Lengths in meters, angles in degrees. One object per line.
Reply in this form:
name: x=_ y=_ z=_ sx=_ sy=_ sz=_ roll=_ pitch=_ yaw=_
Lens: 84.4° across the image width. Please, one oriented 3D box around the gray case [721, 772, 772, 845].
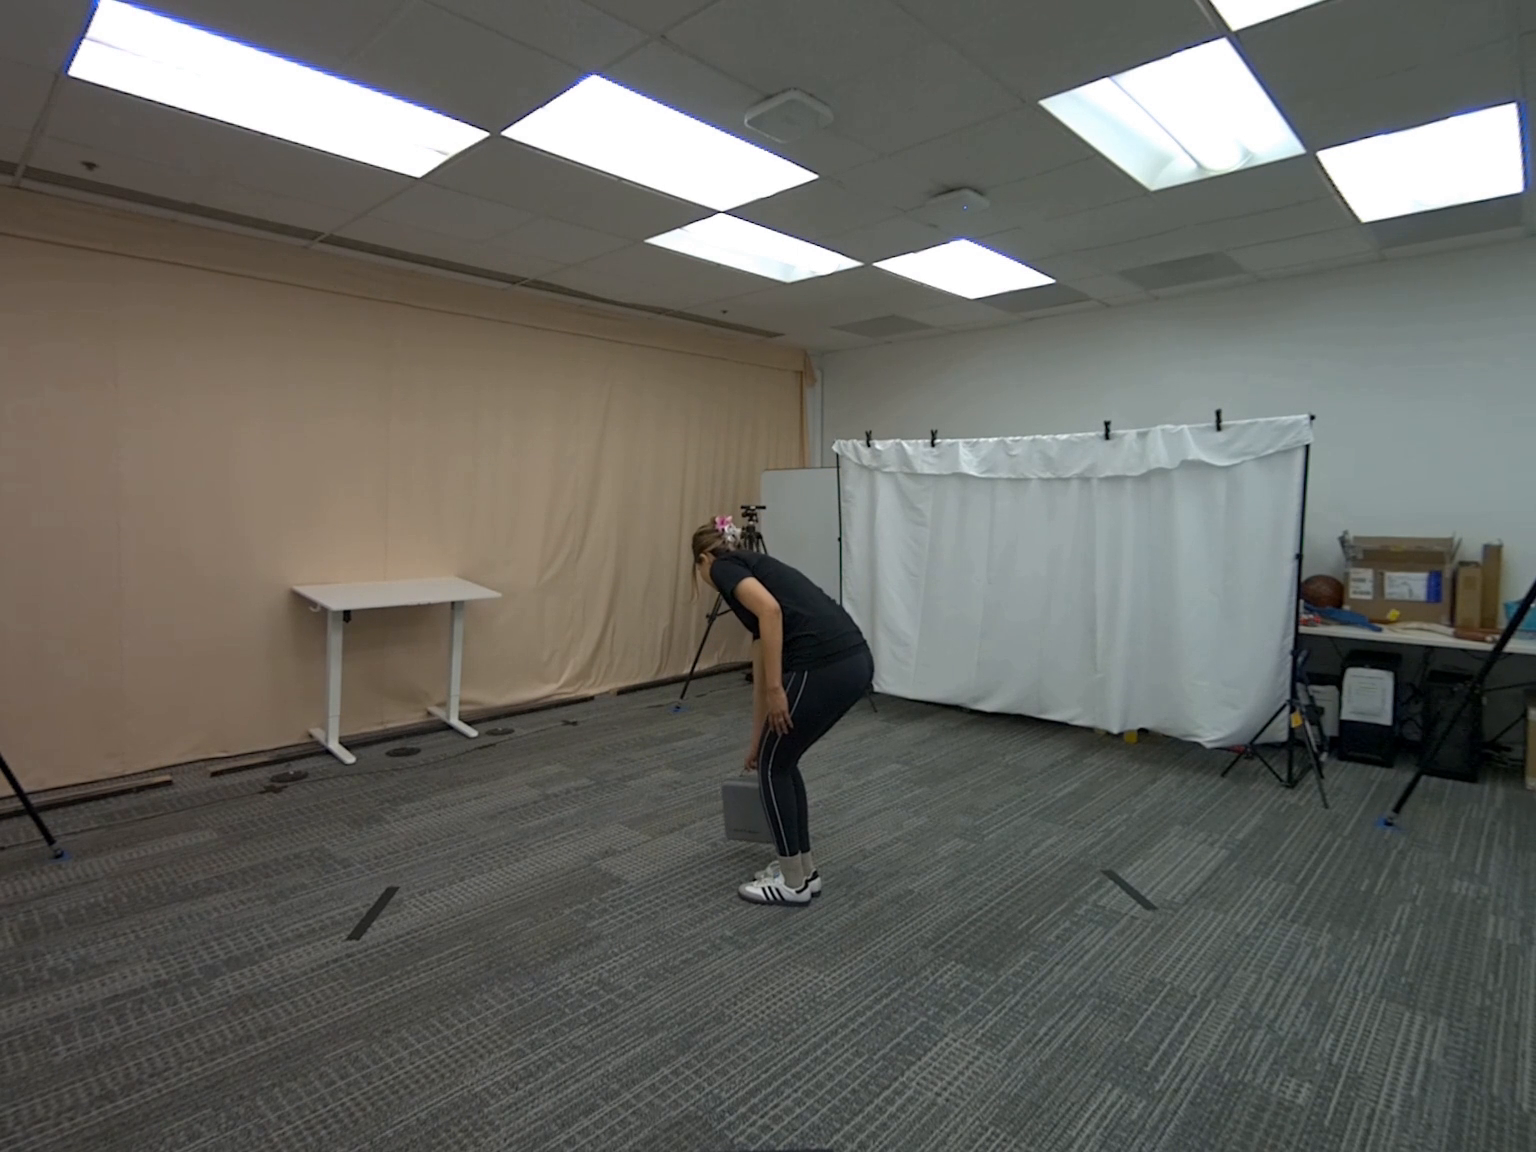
gray case: x=-0.049 y=0.907 z=3.308 sx=0.262 sy=0.259 sz=0.103 roll=1 pitch=10 yaw=18
